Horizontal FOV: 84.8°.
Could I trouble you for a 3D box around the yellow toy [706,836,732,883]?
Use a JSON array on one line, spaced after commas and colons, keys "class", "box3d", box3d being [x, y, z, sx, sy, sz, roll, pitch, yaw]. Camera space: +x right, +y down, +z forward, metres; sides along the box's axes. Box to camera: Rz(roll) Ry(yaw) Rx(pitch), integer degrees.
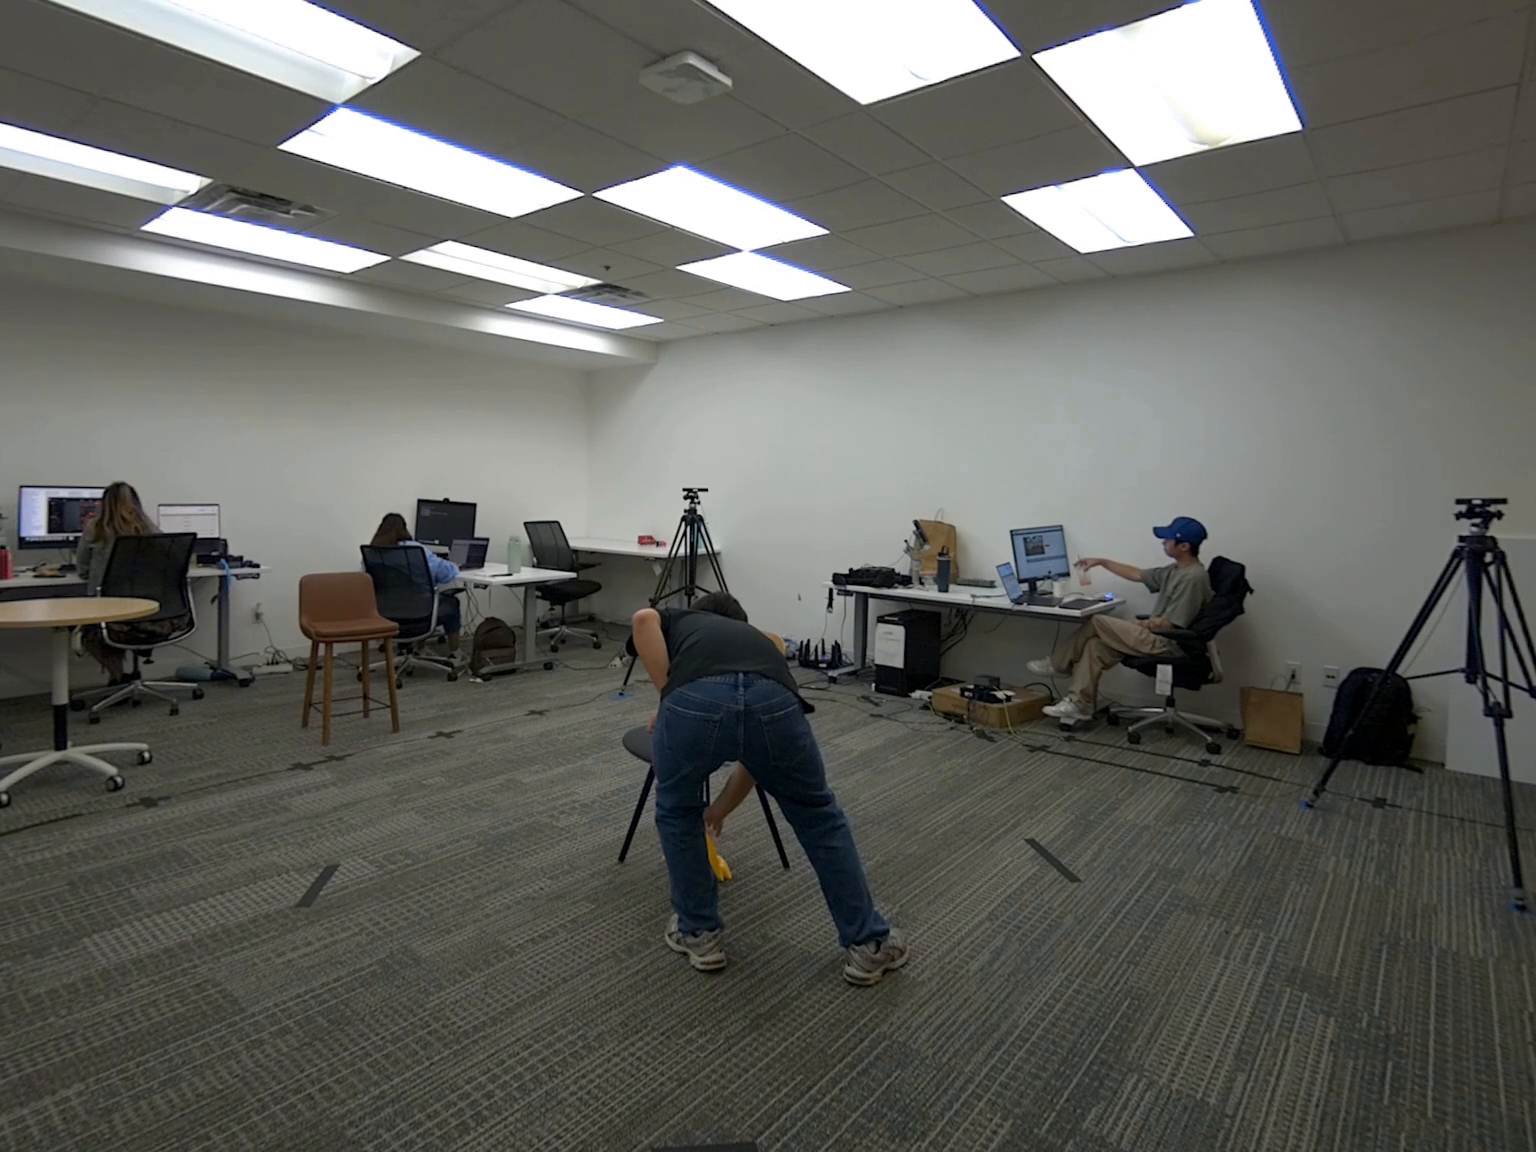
[{"class": "yellow toy", "box3d": [-0.246, 0.957, 3.034, 0.199, 0.230, 0.199, 4, 4, 38]}]
